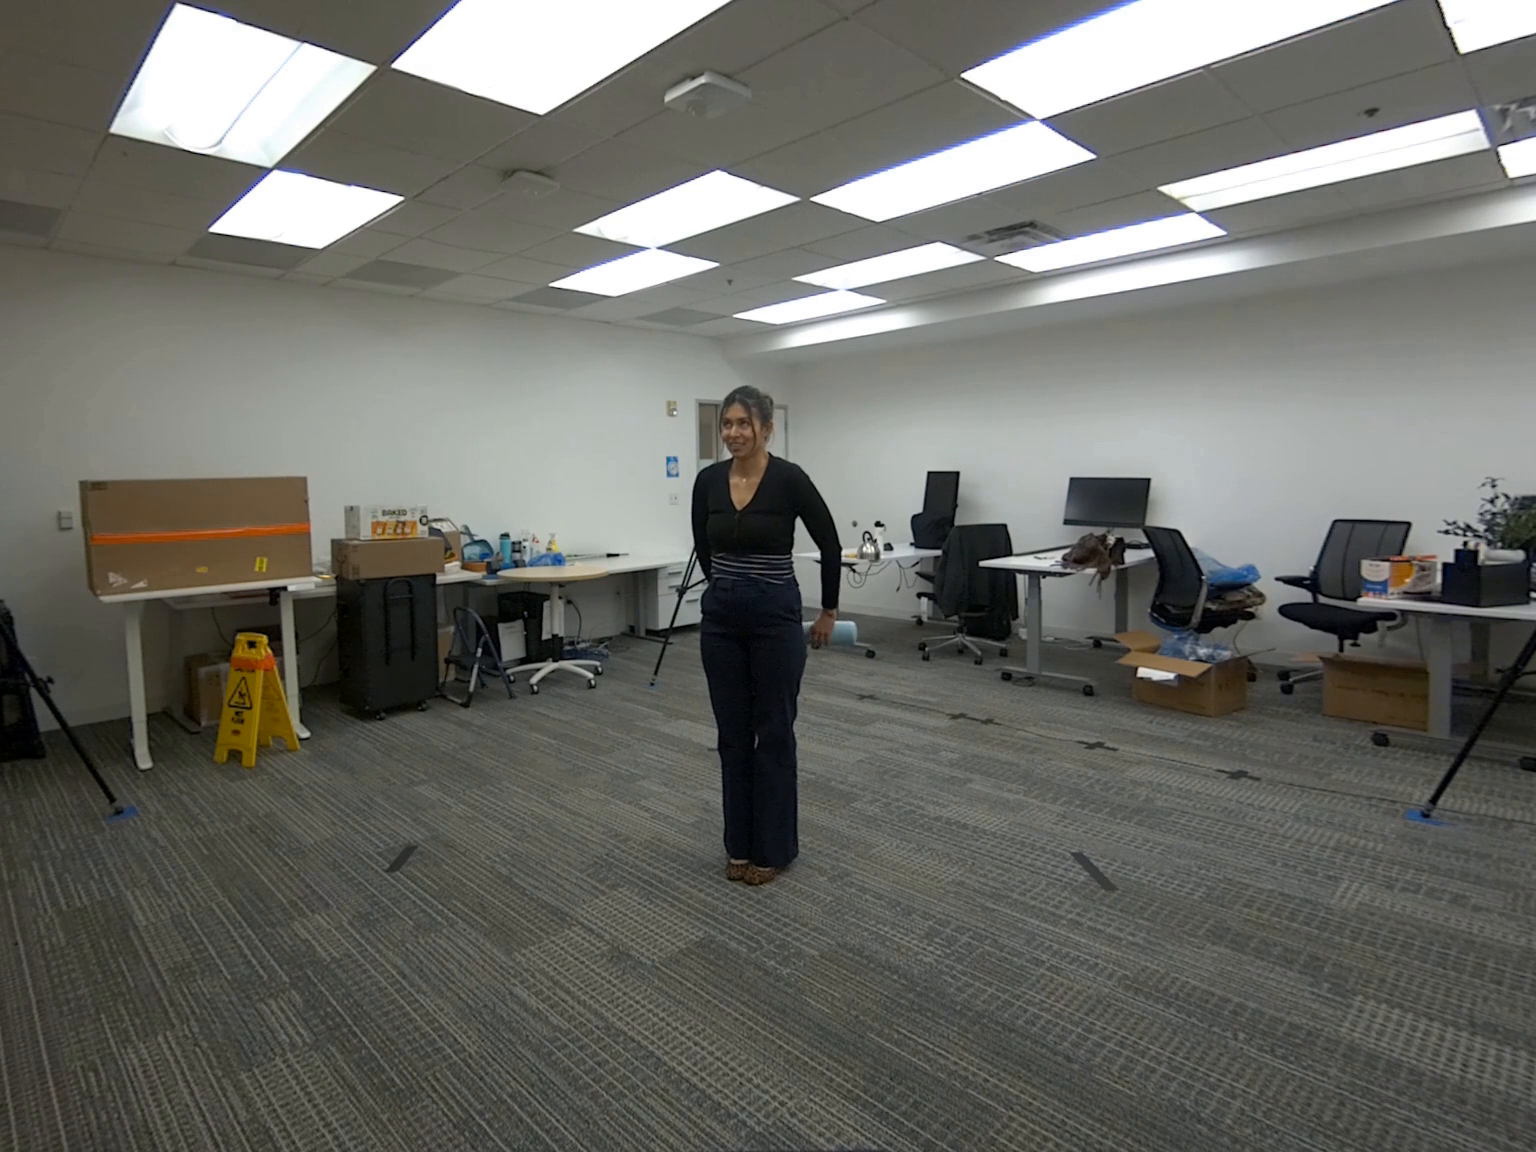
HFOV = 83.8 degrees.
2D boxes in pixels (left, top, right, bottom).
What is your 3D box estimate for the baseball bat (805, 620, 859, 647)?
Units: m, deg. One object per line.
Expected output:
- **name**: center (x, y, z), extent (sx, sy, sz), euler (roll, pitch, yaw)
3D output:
- **baseball bat**: center (0.068, 0.222, 3.199), extent (0.552, 0.089, 0.088), euler (-2, 4, 18)
